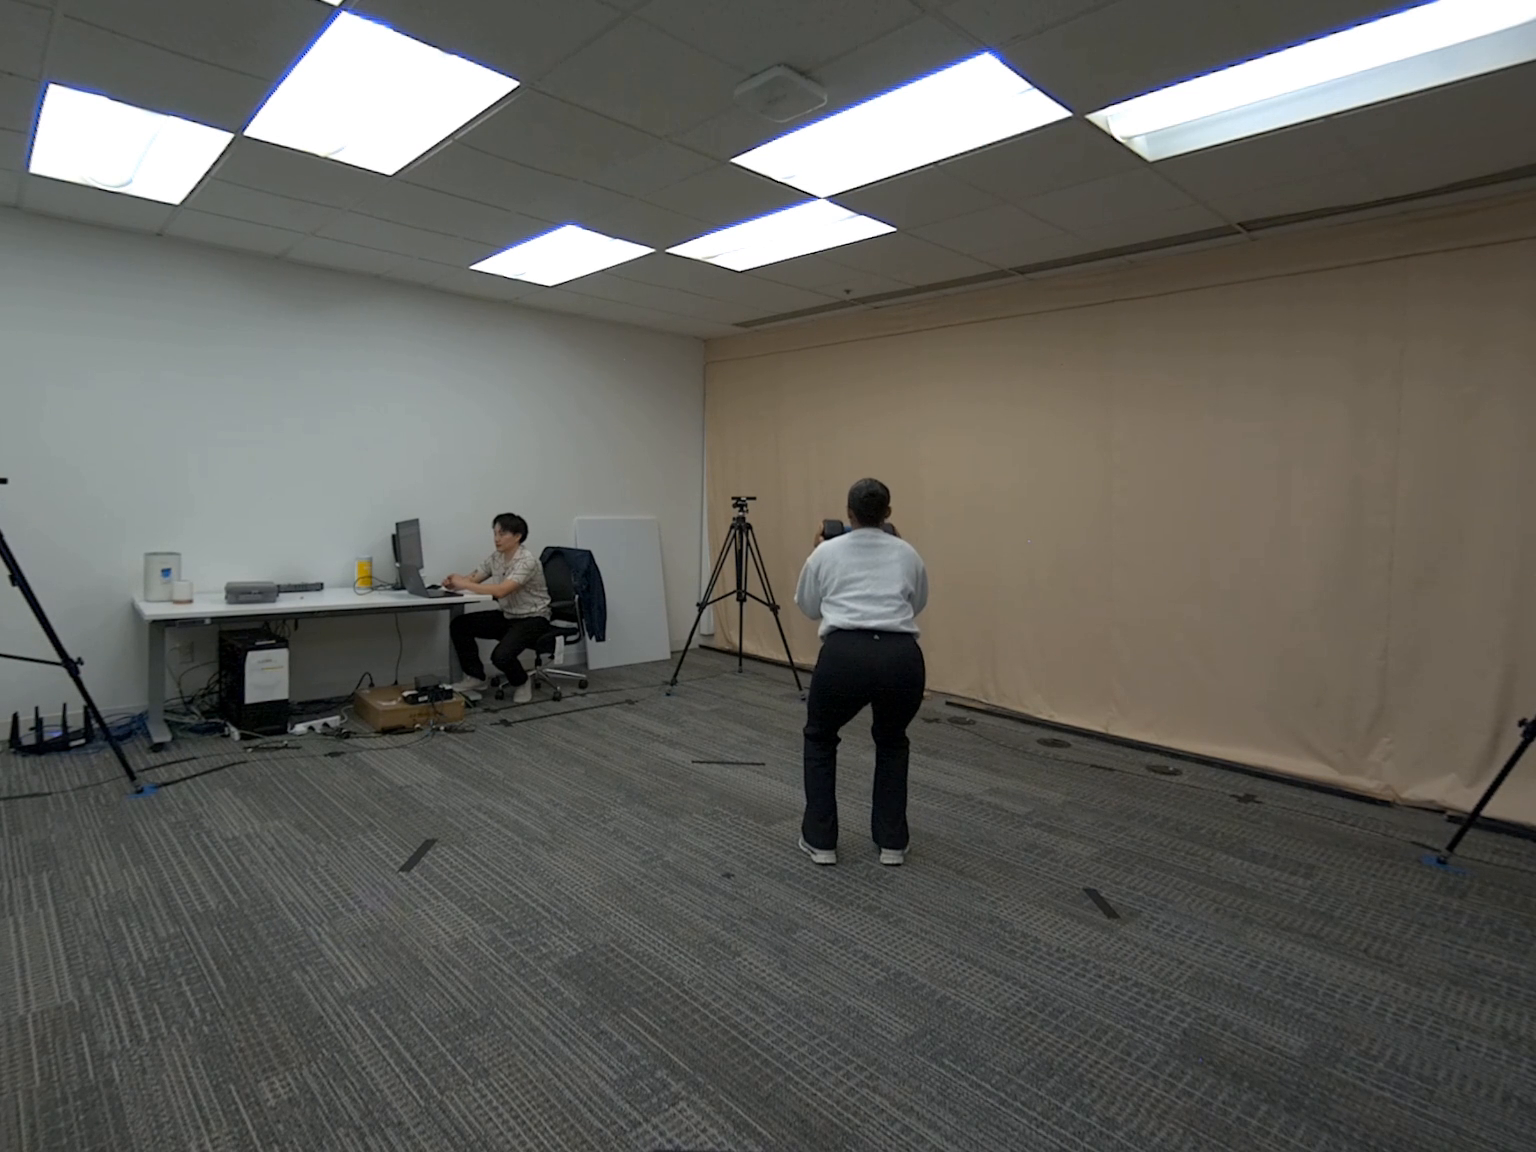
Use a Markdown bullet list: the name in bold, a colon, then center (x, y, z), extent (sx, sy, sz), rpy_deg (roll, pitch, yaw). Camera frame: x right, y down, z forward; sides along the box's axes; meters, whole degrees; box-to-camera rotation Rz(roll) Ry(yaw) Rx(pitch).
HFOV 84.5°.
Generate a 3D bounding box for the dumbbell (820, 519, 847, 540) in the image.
- **dumbbell**: center (0.375, -0.166, 3.475), extent (0.293, 0.120, 0.111), rpy_deg (2, 39, -3)
